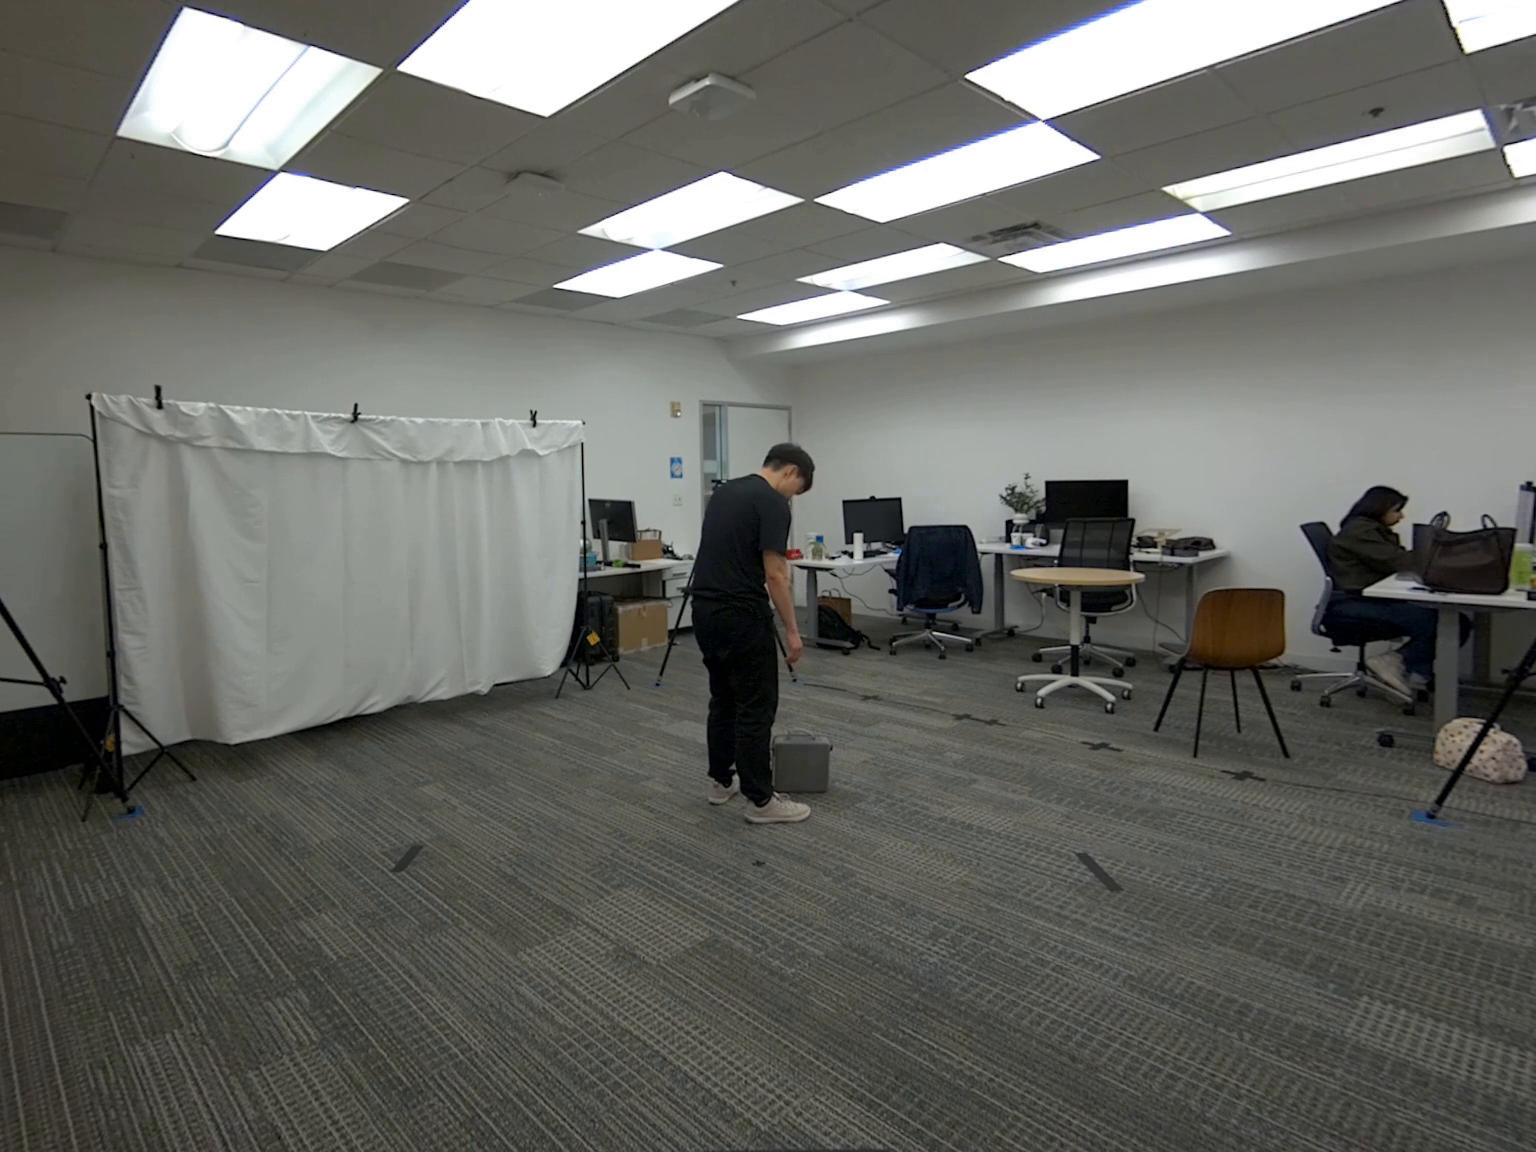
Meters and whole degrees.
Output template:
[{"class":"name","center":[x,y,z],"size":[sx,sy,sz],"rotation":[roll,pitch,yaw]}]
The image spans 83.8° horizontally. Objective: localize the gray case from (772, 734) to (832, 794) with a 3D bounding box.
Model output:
[{"class":"gray case","center":[0.151,0.829,3.817],"size":[0.257,0.257,0.105],"rotation":[1,13,-1]}]
